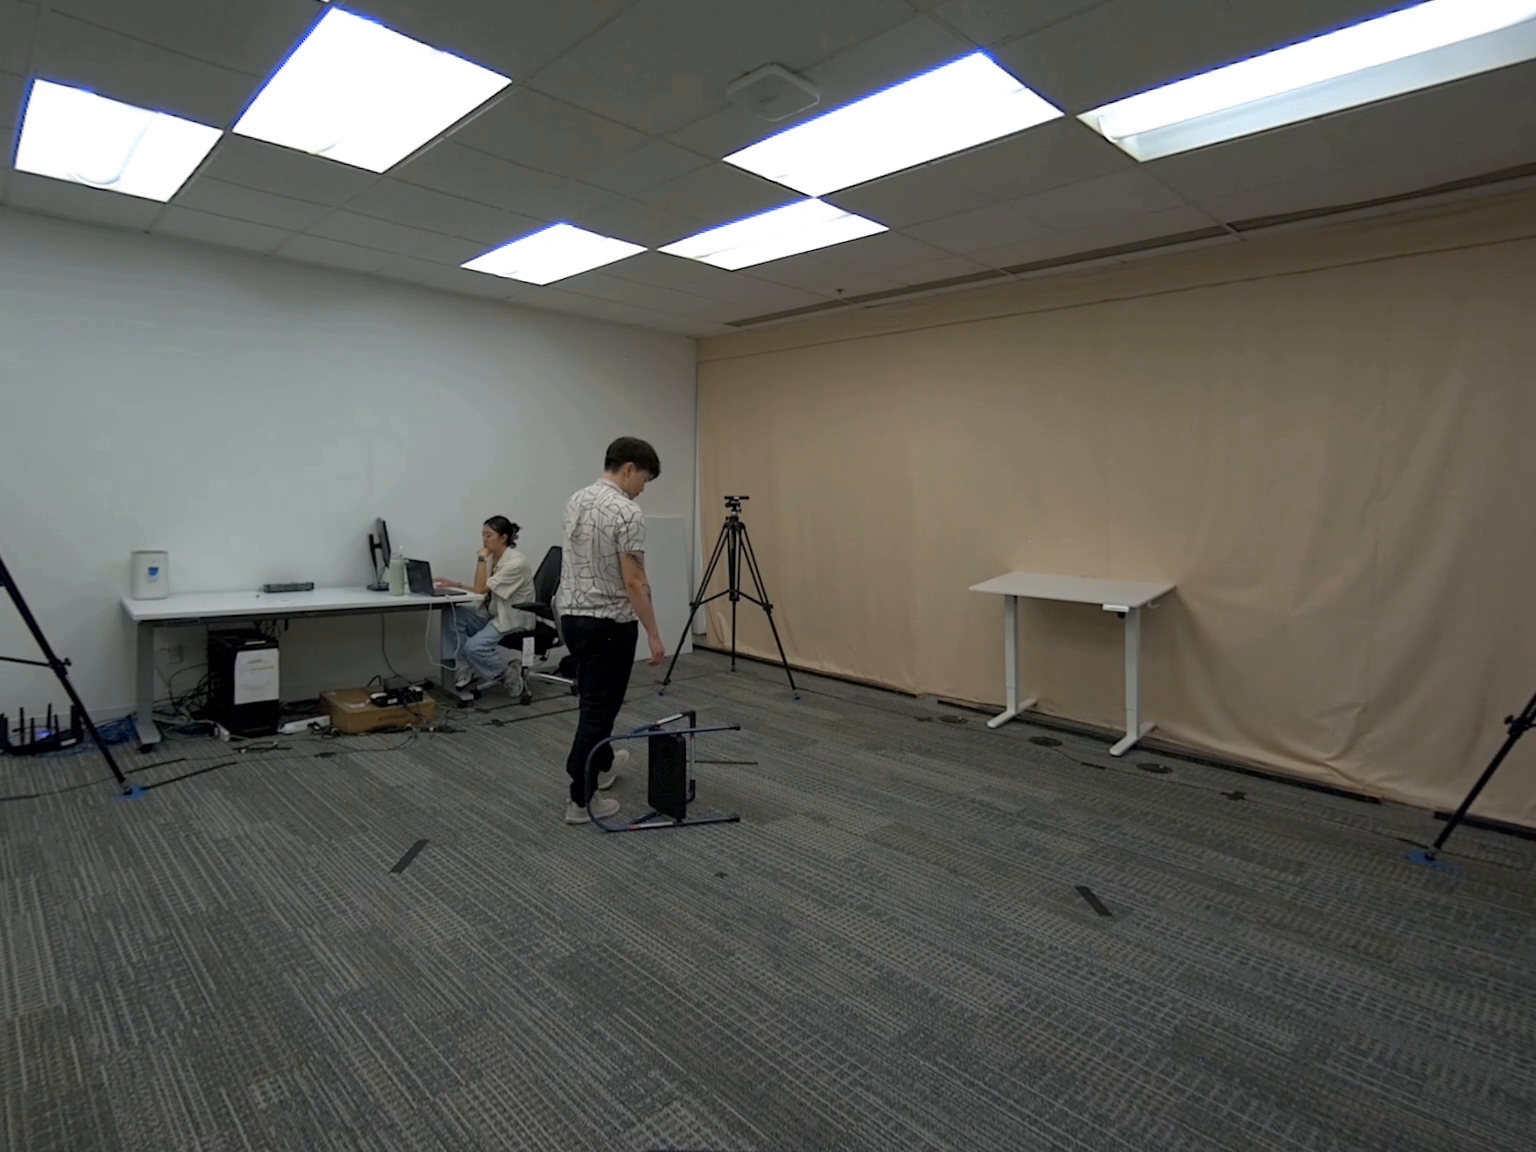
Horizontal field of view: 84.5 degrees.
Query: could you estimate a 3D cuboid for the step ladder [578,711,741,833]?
[{"bbox_3d":[-0.476,0.847,3.562,0.592,0.430,0.358,-2,4,-39],"label":"step ladder"}]
